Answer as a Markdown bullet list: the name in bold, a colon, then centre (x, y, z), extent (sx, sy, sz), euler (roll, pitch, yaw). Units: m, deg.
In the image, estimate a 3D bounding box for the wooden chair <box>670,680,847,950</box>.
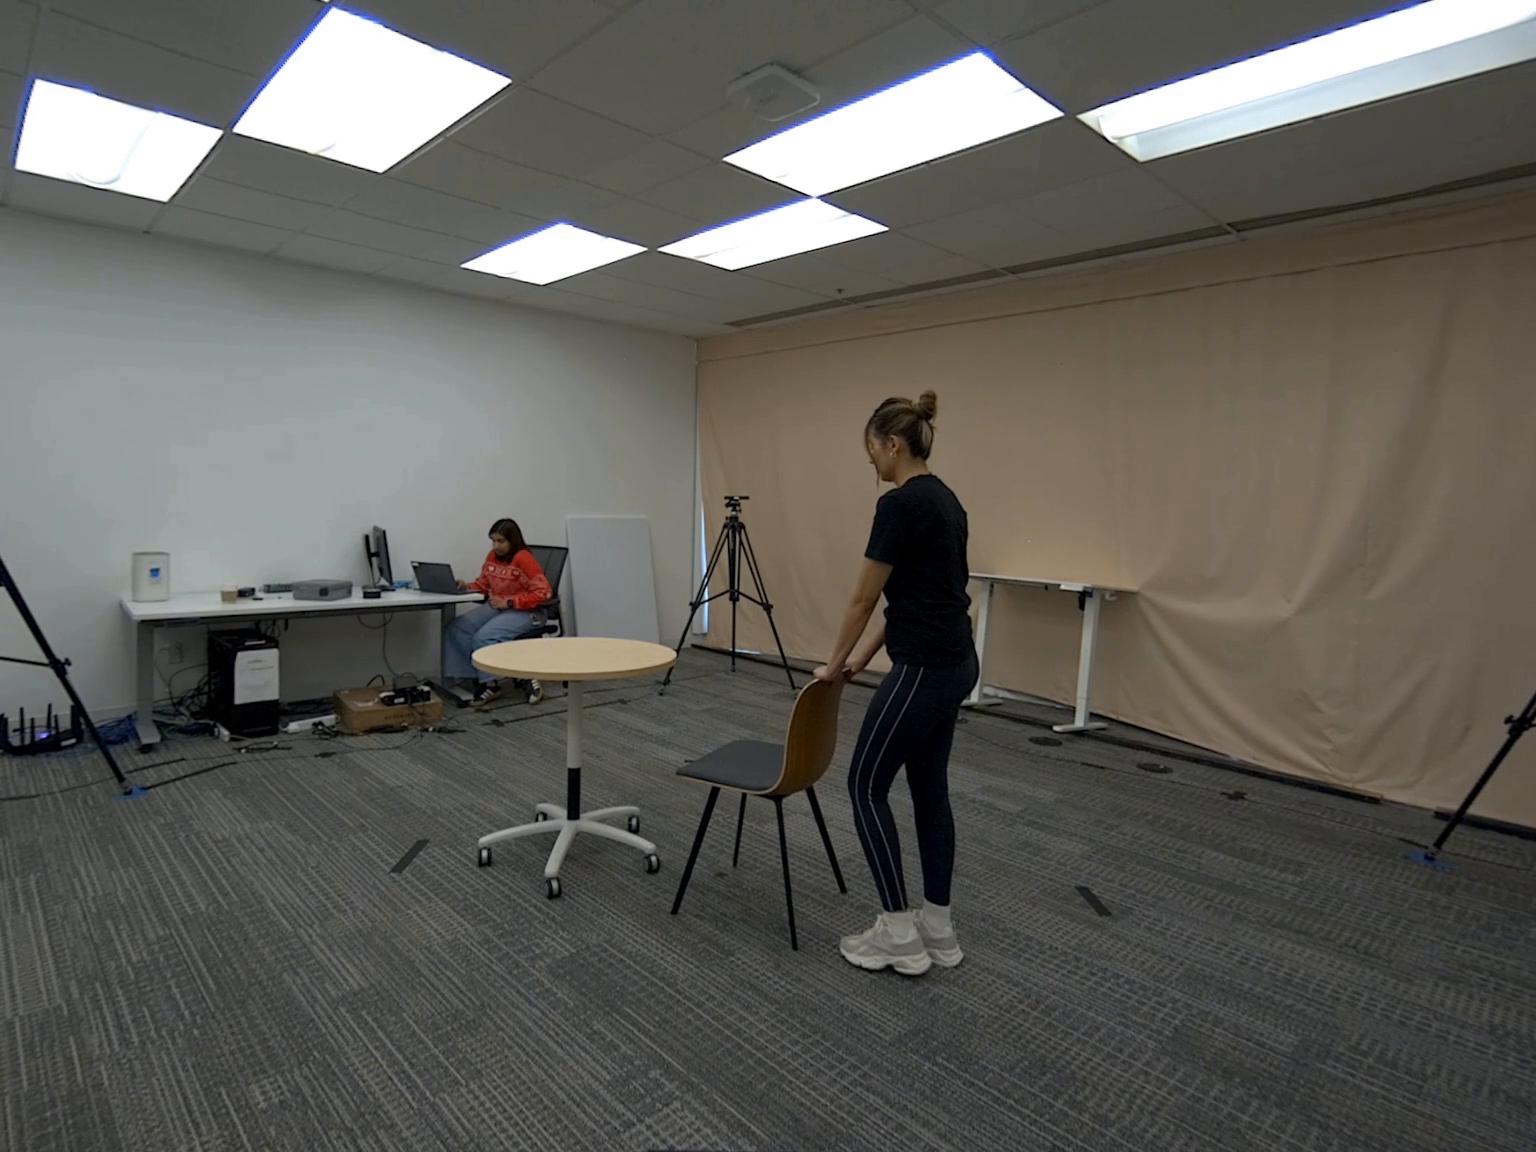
- **wooden chair**: centre (-0.022, 0.700, 2.858), extent (0.534, 0.874, 0.470), euler (8, 7, 26)
